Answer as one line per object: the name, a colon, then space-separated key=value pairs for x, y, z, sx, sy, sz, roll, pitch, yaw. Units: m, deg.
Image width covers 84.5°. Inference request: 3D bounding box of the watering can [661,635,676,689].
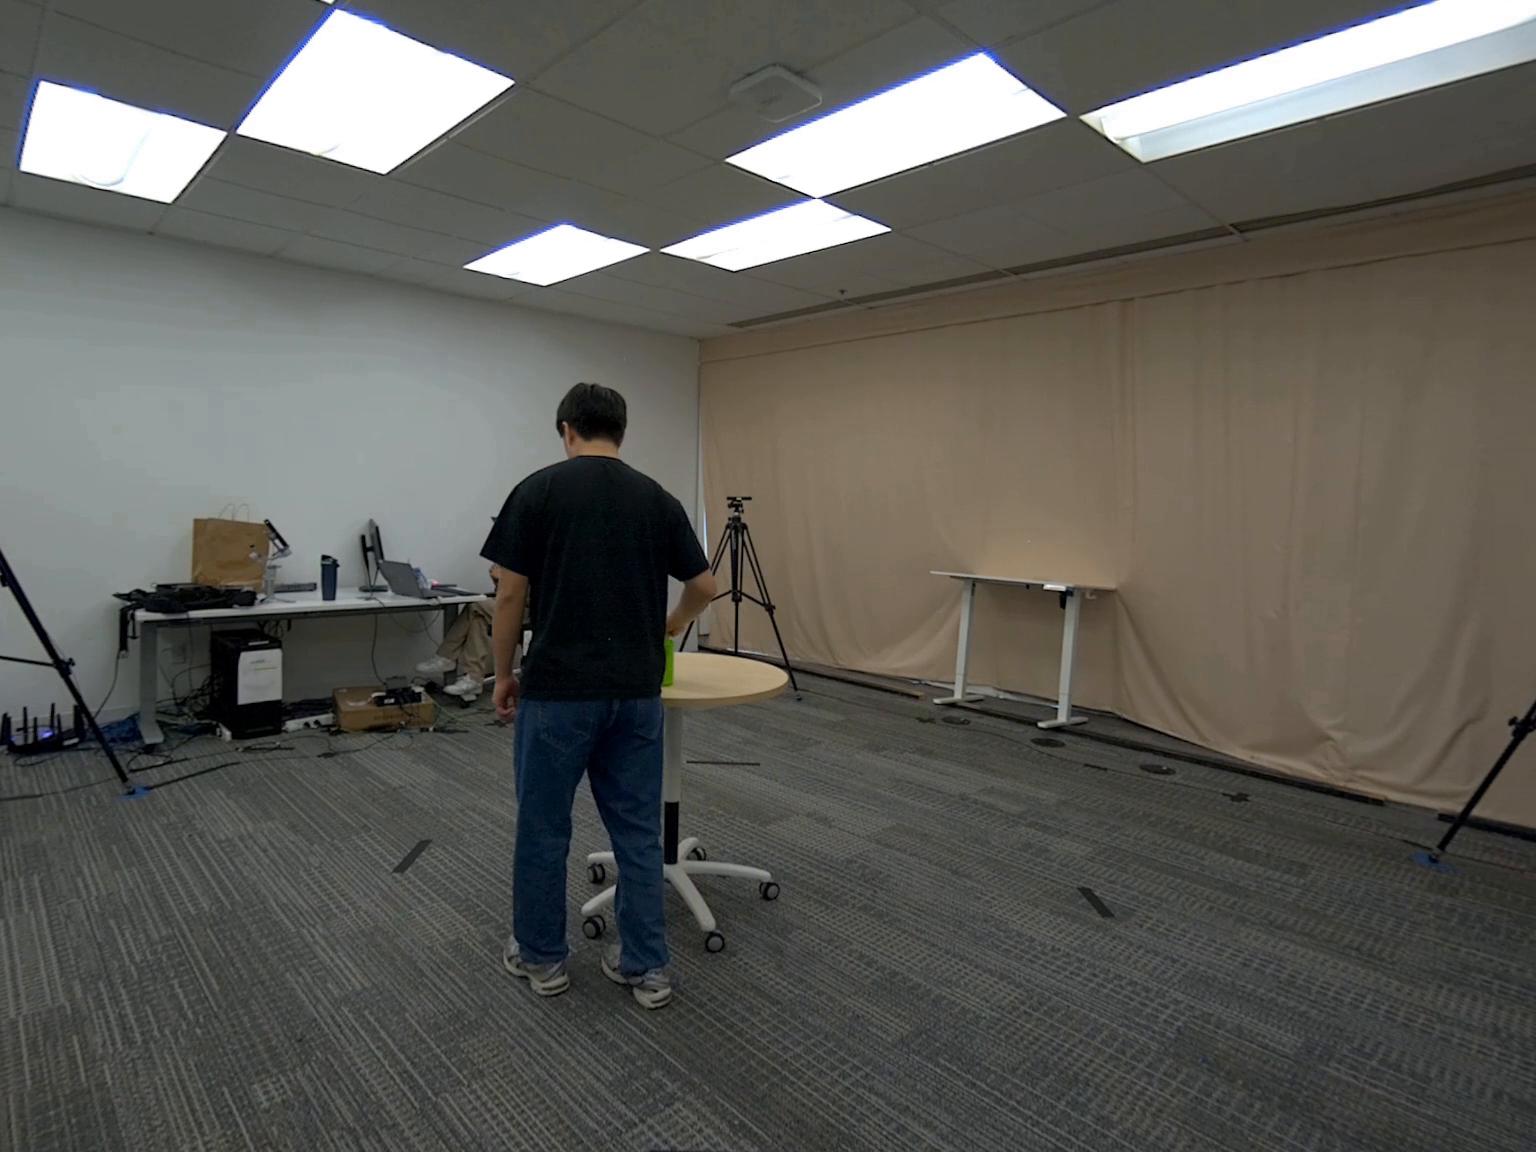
watering can: x=-0.357 y=0.256 z=2.726 sx=0.097 sy=0.176 sz=0.280 roll=4 pitch=5 yaw=-8
